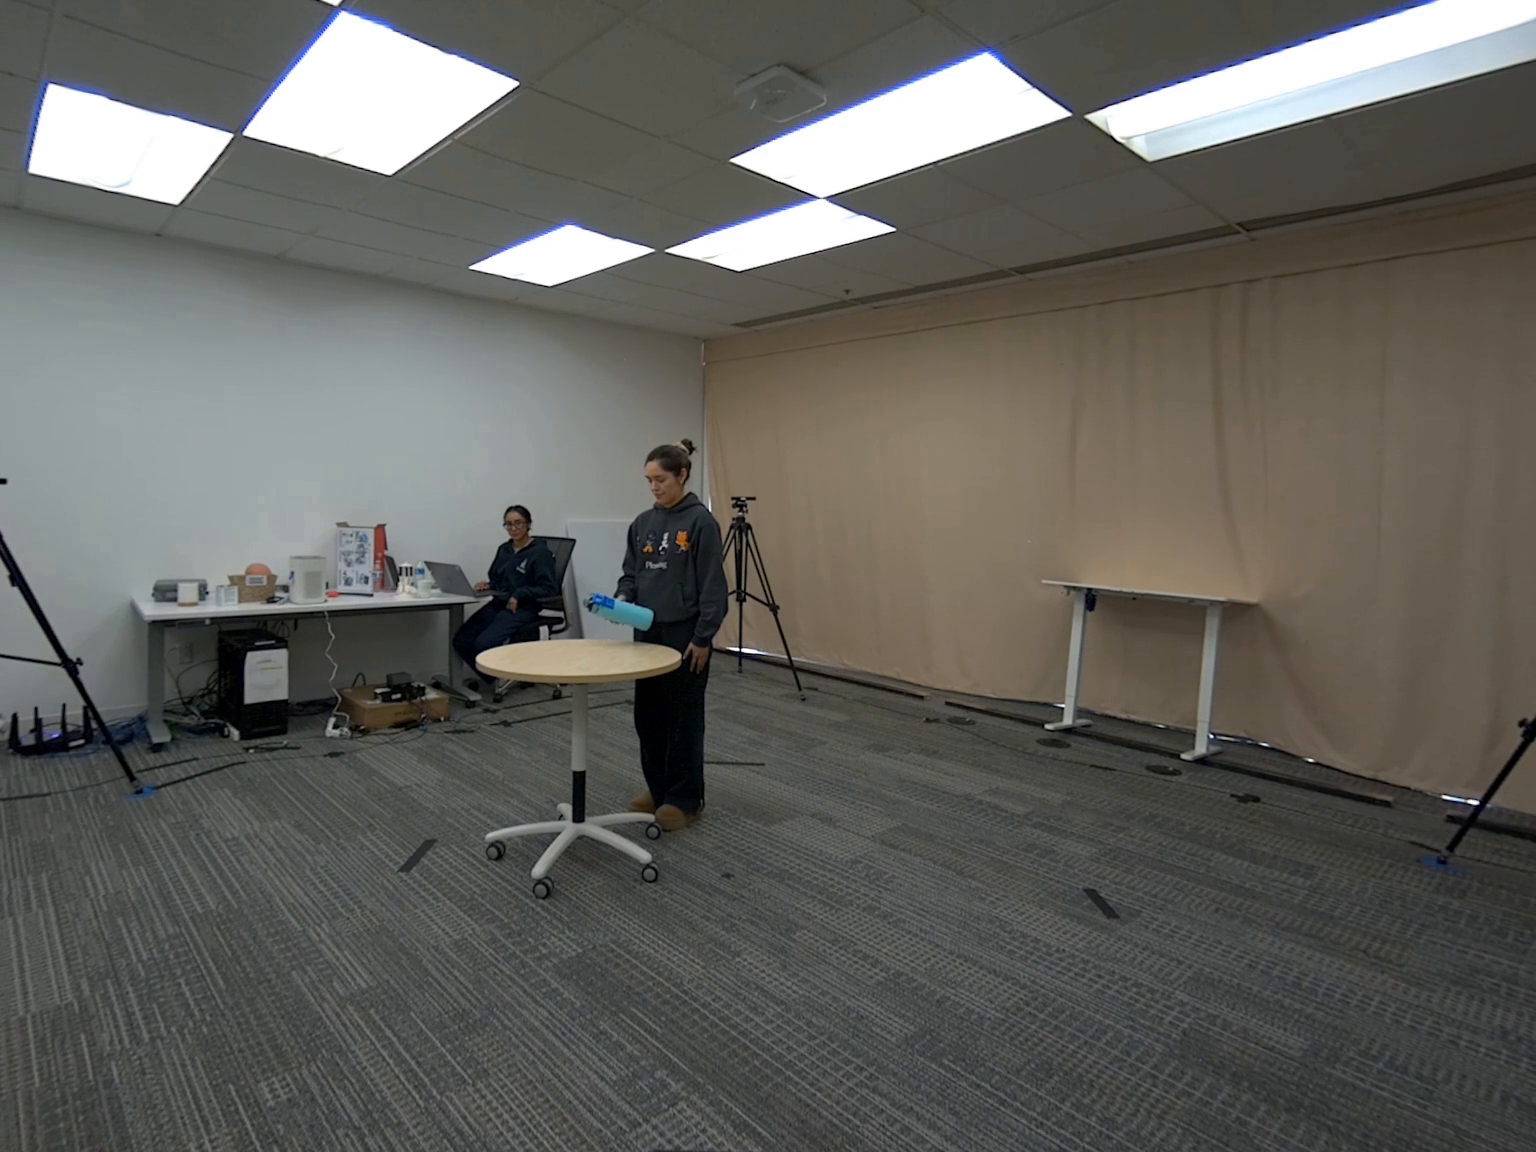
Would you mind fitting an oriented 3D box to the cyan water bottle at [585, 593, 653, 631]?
[{"bbox_3d":[-0.636,0.127,3.439,0.278,0.092,0.094,21,-3,-21],"label":"cyan water bottle"}]
